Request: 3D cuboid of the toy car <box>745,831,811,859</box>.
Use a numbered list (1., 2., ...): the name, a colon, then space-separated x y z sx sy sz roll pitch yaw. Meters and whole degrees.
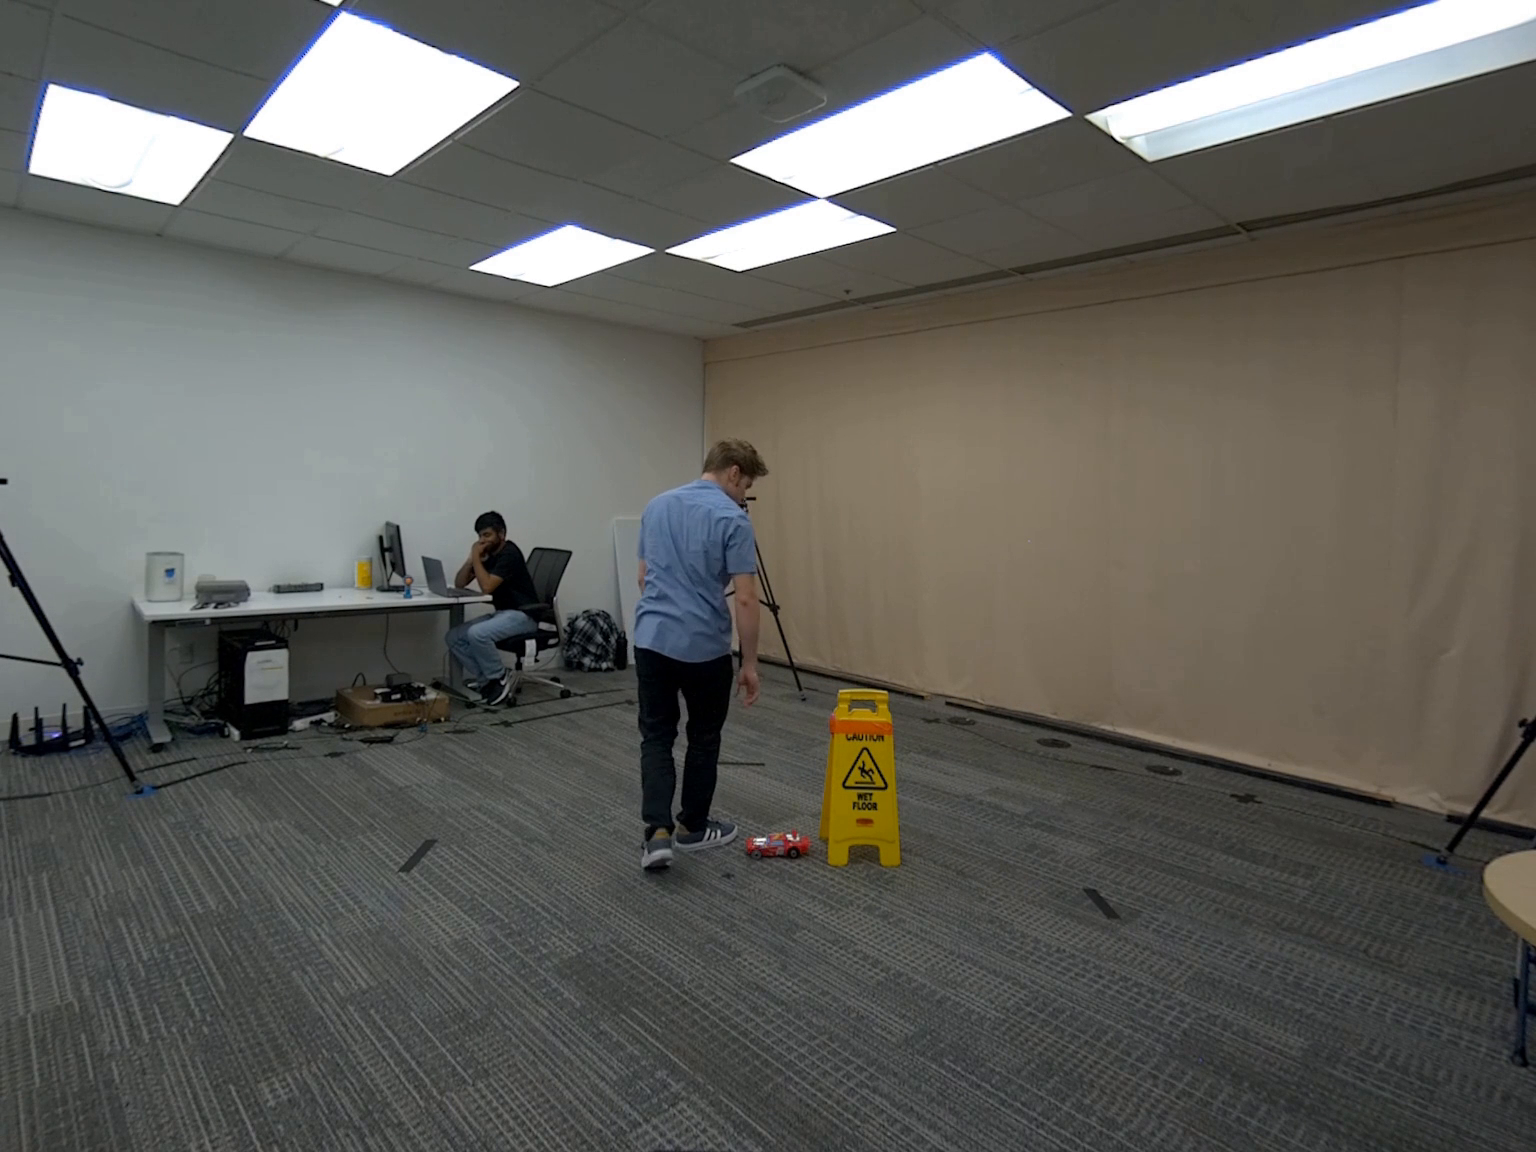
1. toy car: 0.036 1.059 3.315 0.254 0.083 0.131 -11 5 -3
